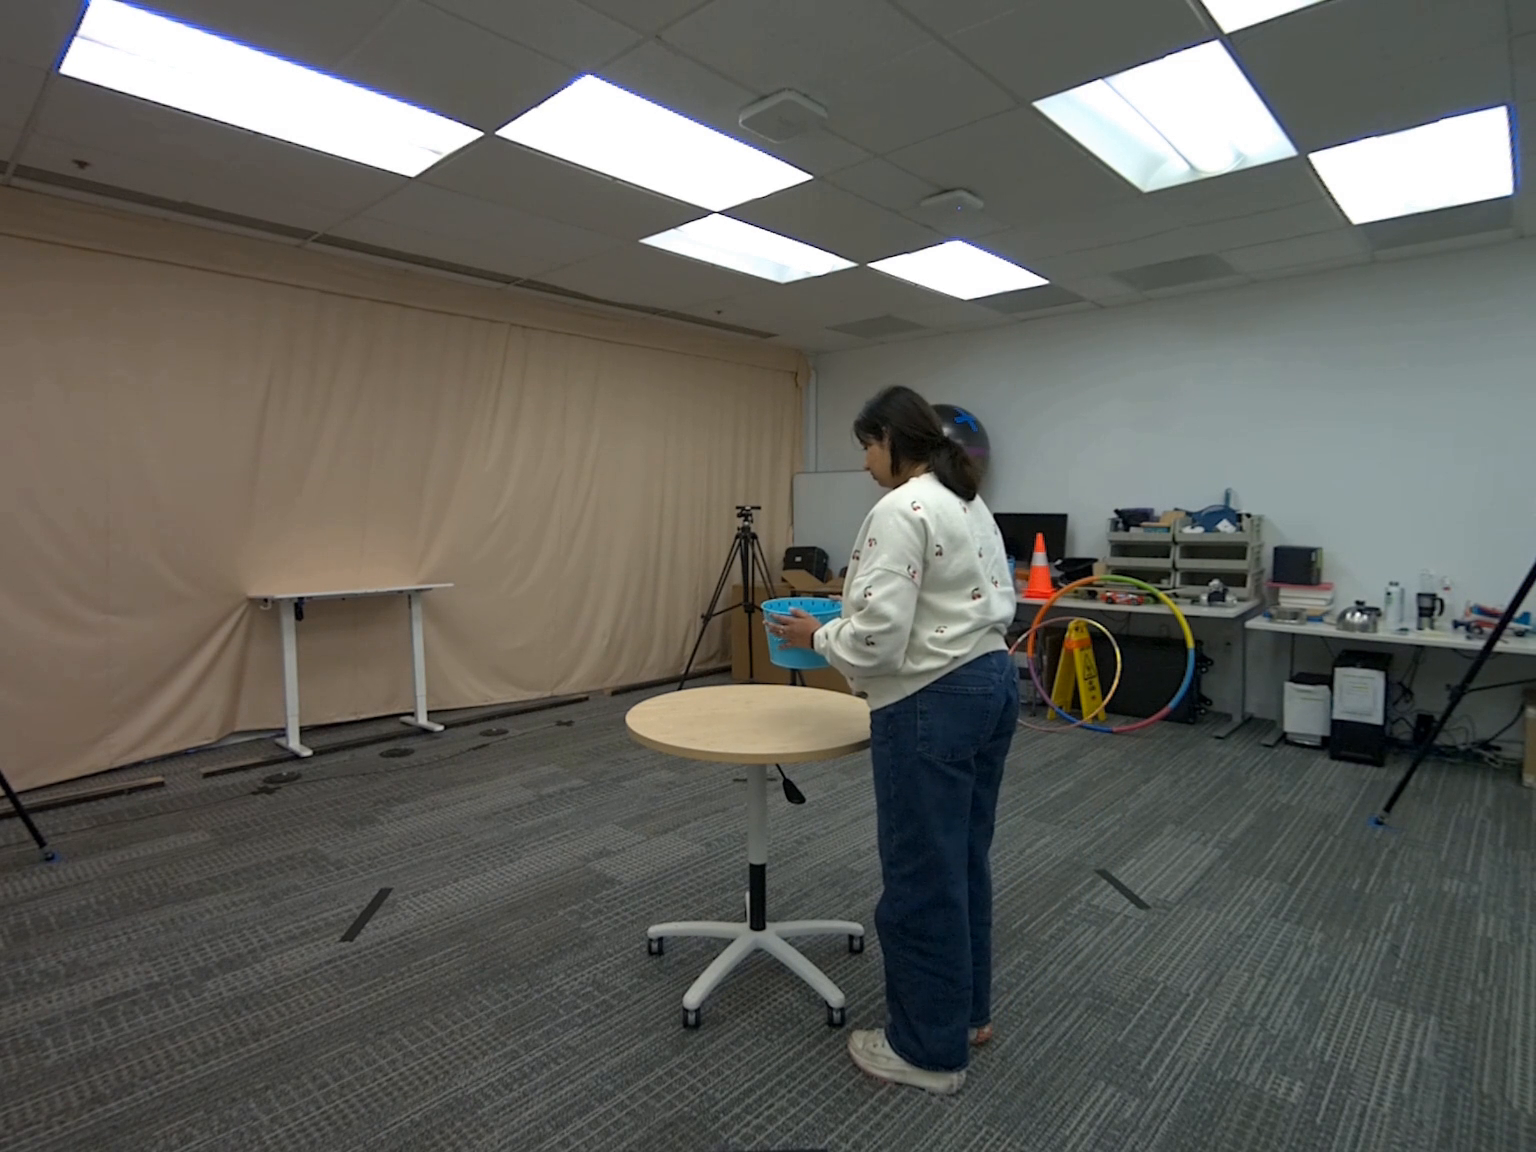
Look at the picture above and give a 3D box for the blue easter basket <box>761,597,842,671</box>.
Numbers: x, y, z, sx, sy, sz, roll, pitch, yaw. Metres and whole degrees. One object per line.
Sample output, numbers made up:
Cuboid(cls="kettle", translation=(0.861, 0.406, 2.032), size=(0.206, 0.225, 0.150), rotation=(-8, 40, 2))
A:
Cuboid(cls="blue easter basket", translation=(0.114, 0.157, 2.283), size=(0.243, 0.155, 0.245), rotation=(0, 8, -2))
